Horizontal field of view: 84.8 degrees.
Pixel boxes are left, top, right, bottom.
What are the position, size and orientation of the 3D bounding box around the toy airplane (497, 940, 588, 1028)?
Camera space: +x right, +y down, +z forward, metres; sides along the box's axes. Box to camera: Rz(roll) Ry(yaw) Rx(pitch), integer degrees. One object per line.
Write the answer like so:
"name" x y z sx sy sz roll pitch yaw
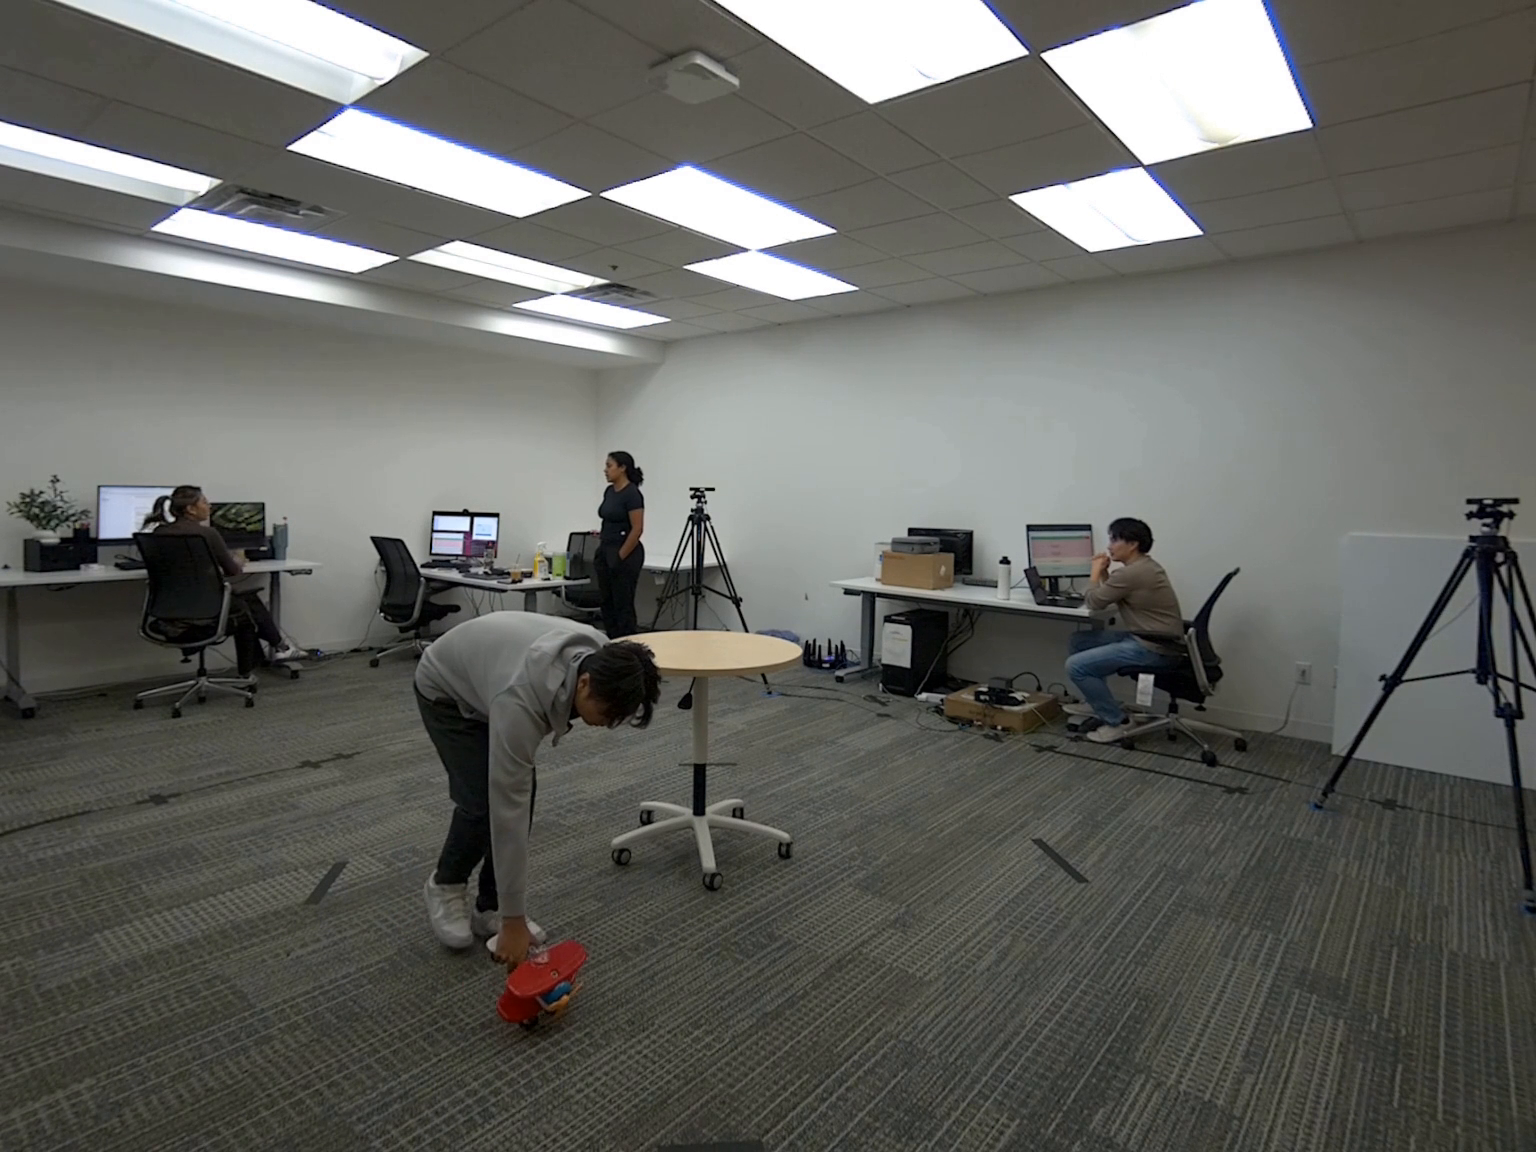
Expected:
"toy airplane" -0.630 1.036 2.207 0.257 0.156 0.253 36 23 -6
